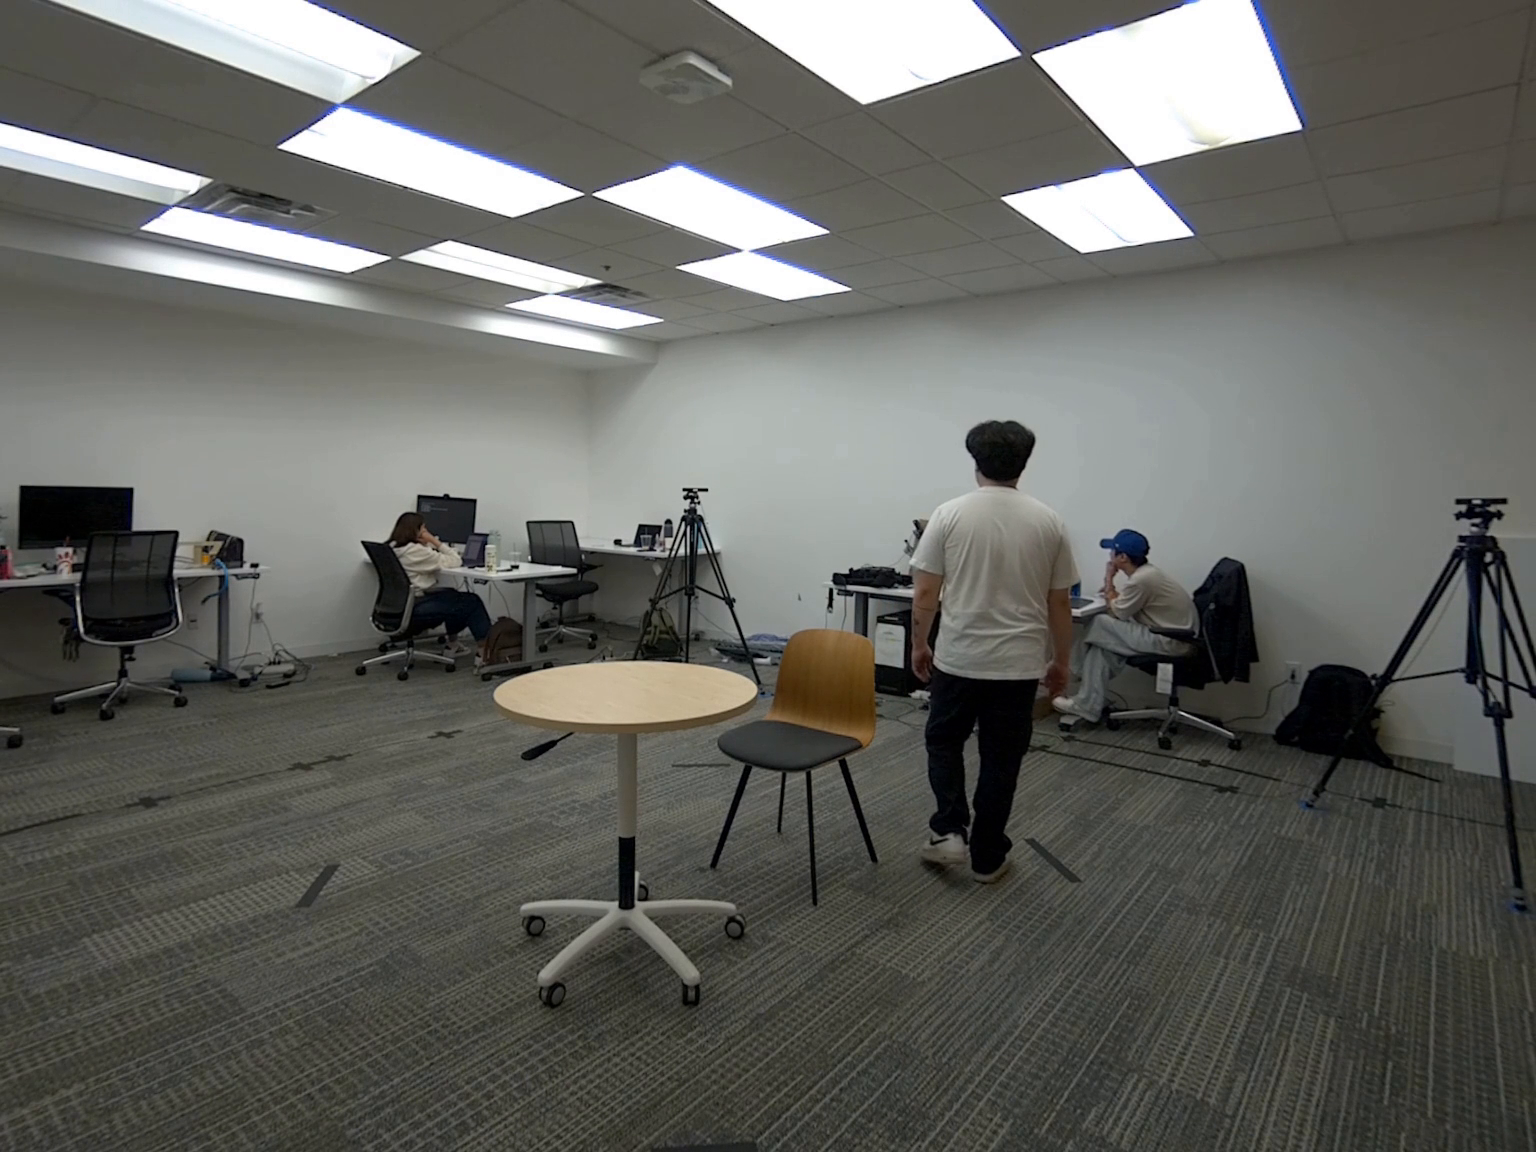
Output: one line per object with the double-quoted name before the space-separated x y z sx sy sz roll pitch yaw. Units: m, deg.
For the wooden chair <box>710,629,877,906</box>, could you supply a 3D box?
"wooden chair" 0.100 0.645 3.134 0.494 0.878 0.506 4 0 36
